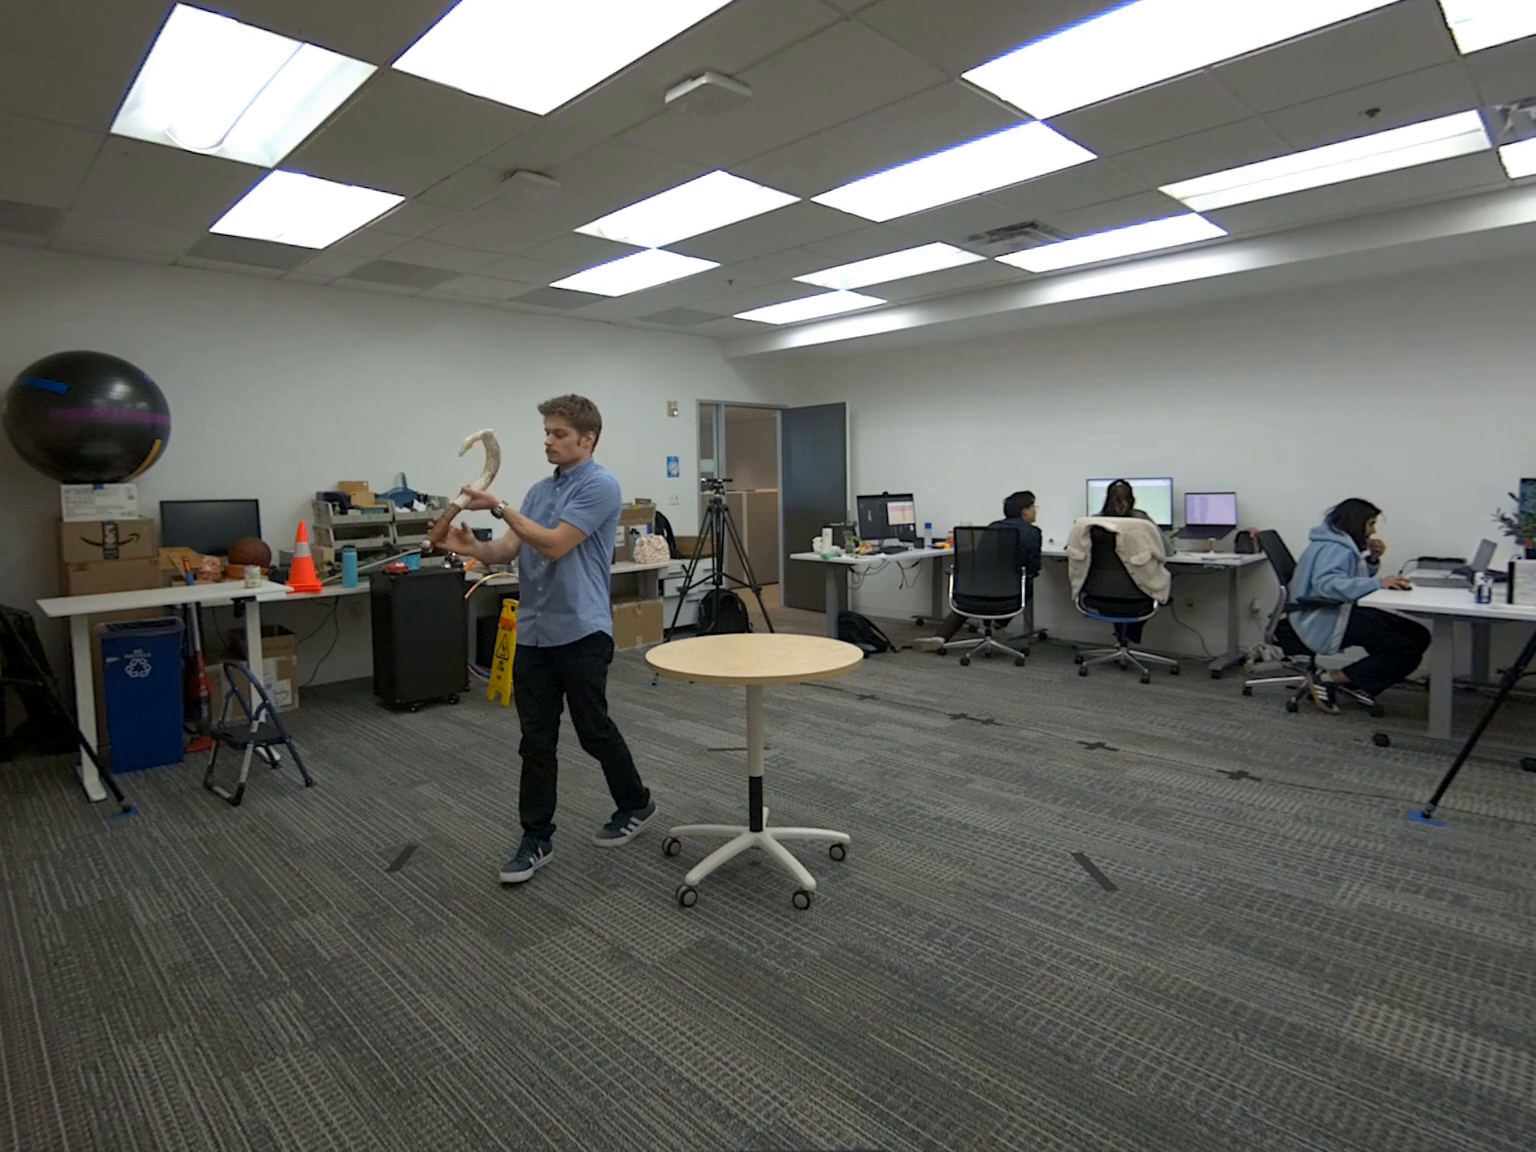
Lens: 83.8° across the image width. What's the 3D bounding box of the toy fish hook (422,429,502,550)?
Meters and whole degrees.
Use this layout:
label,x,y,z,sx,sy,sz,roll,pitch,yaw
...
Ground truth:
label,x,y,z,sx,sy,sz,roll,pitch,yaw
toy fish hook,-1.035,-0.301,2.873,0.049,0.217,0.515,6,49,12
